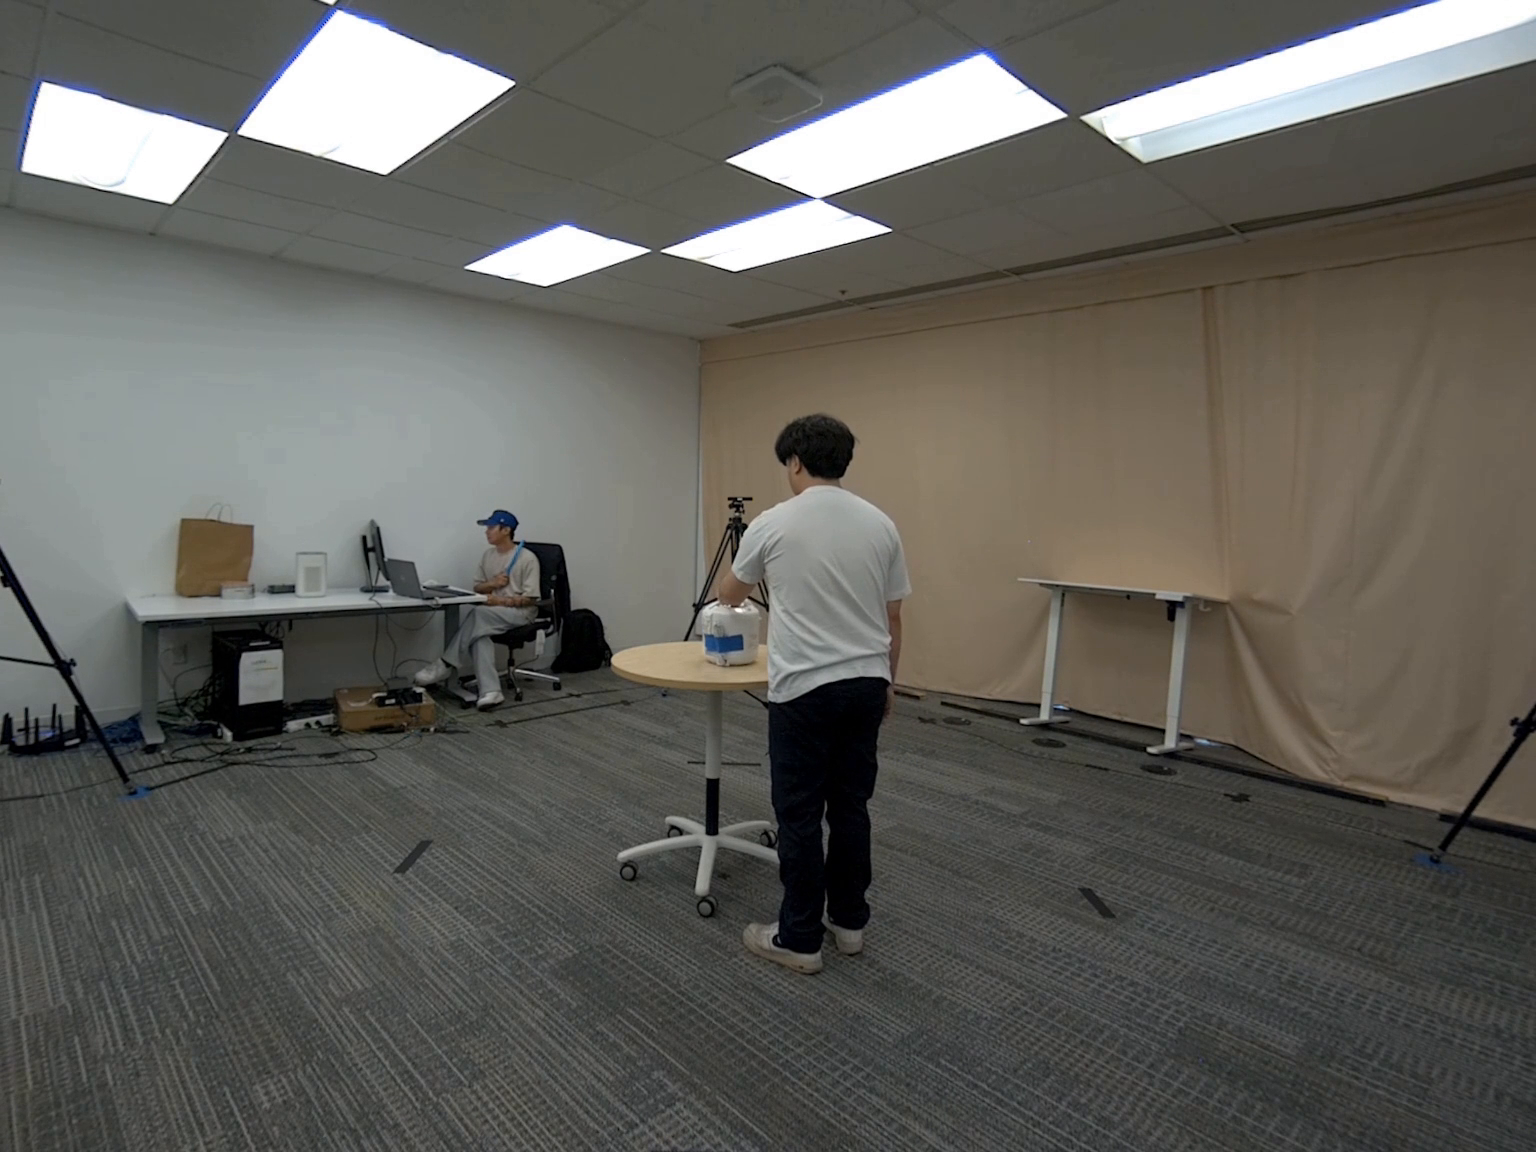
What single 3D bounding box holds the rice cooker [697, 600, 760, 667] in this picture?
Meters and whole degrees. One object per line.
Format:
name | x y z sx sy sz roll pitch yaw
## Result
rice cooker | -0.147 0.191 3.071 0.216 0.232 0.222 -1 7 -27
